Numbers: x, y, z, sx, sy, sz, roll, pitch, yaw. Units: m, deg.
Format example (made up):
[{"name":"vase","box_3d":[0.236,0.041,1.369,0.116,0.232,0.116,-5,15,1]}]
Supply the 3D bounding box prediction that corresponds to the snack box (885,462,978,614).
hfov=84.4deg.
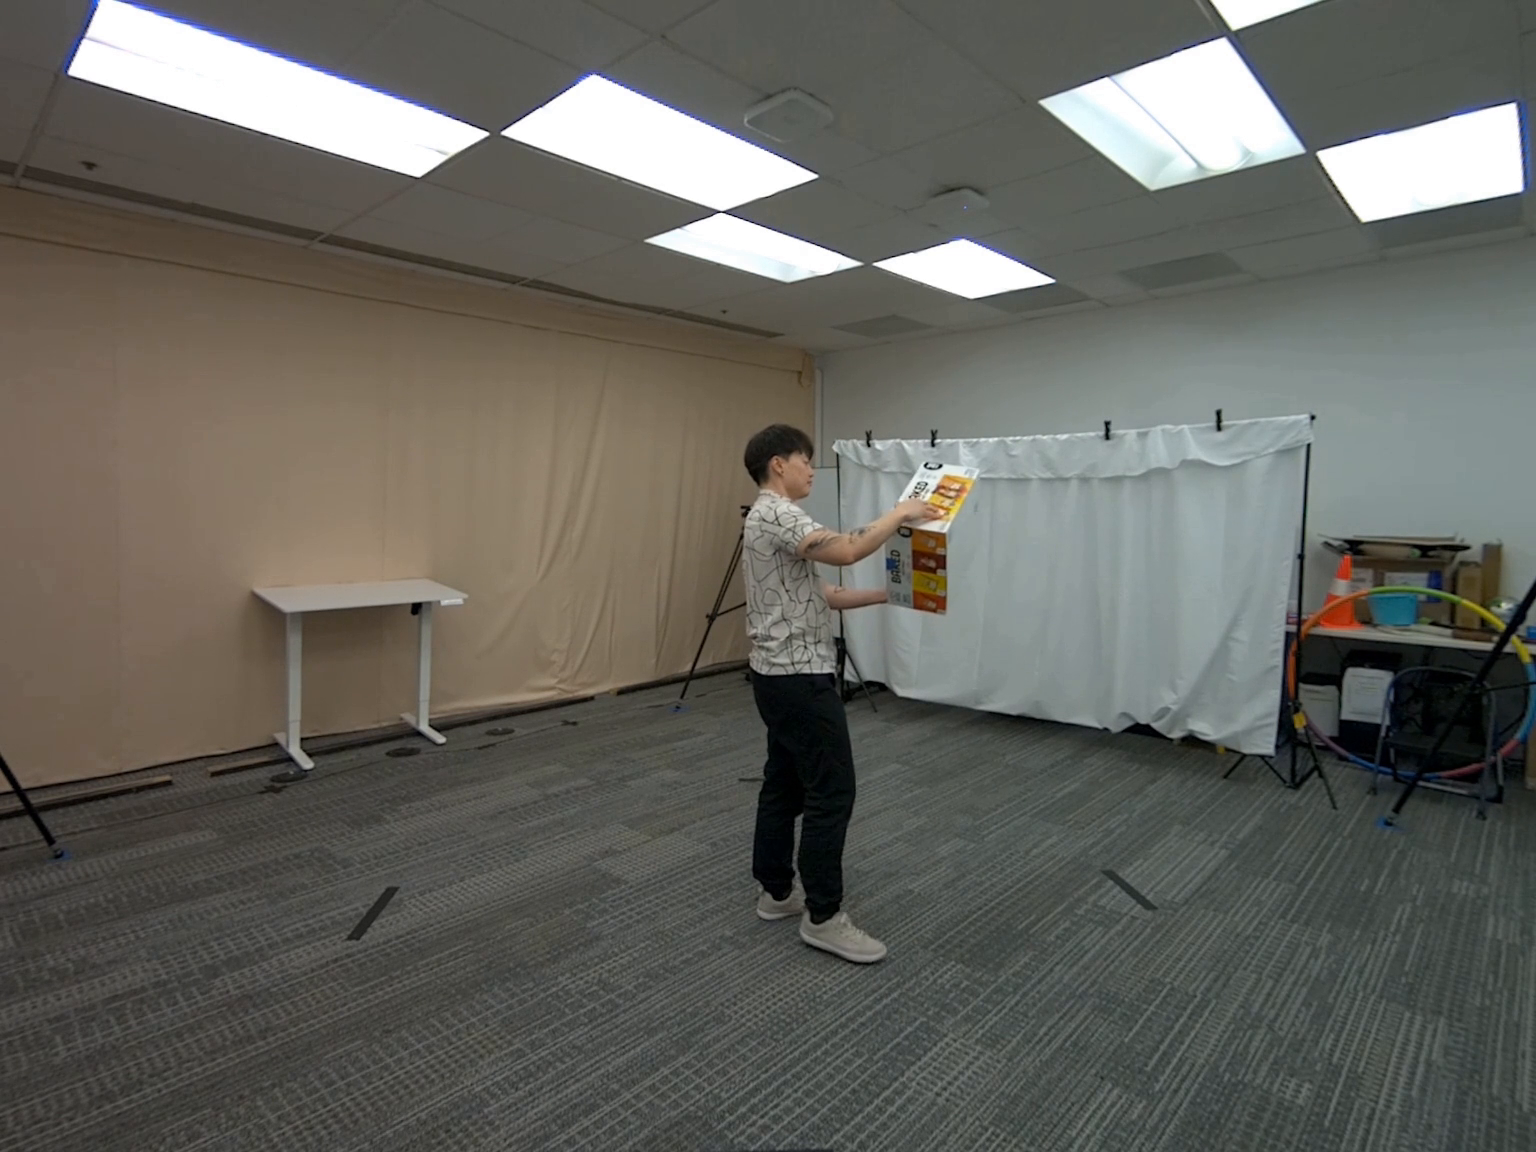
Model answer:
[{"name":"snack box","box_3d":[0.578,-0.131,2.878,0.211,0.333,0.403,11,41,26]}]
